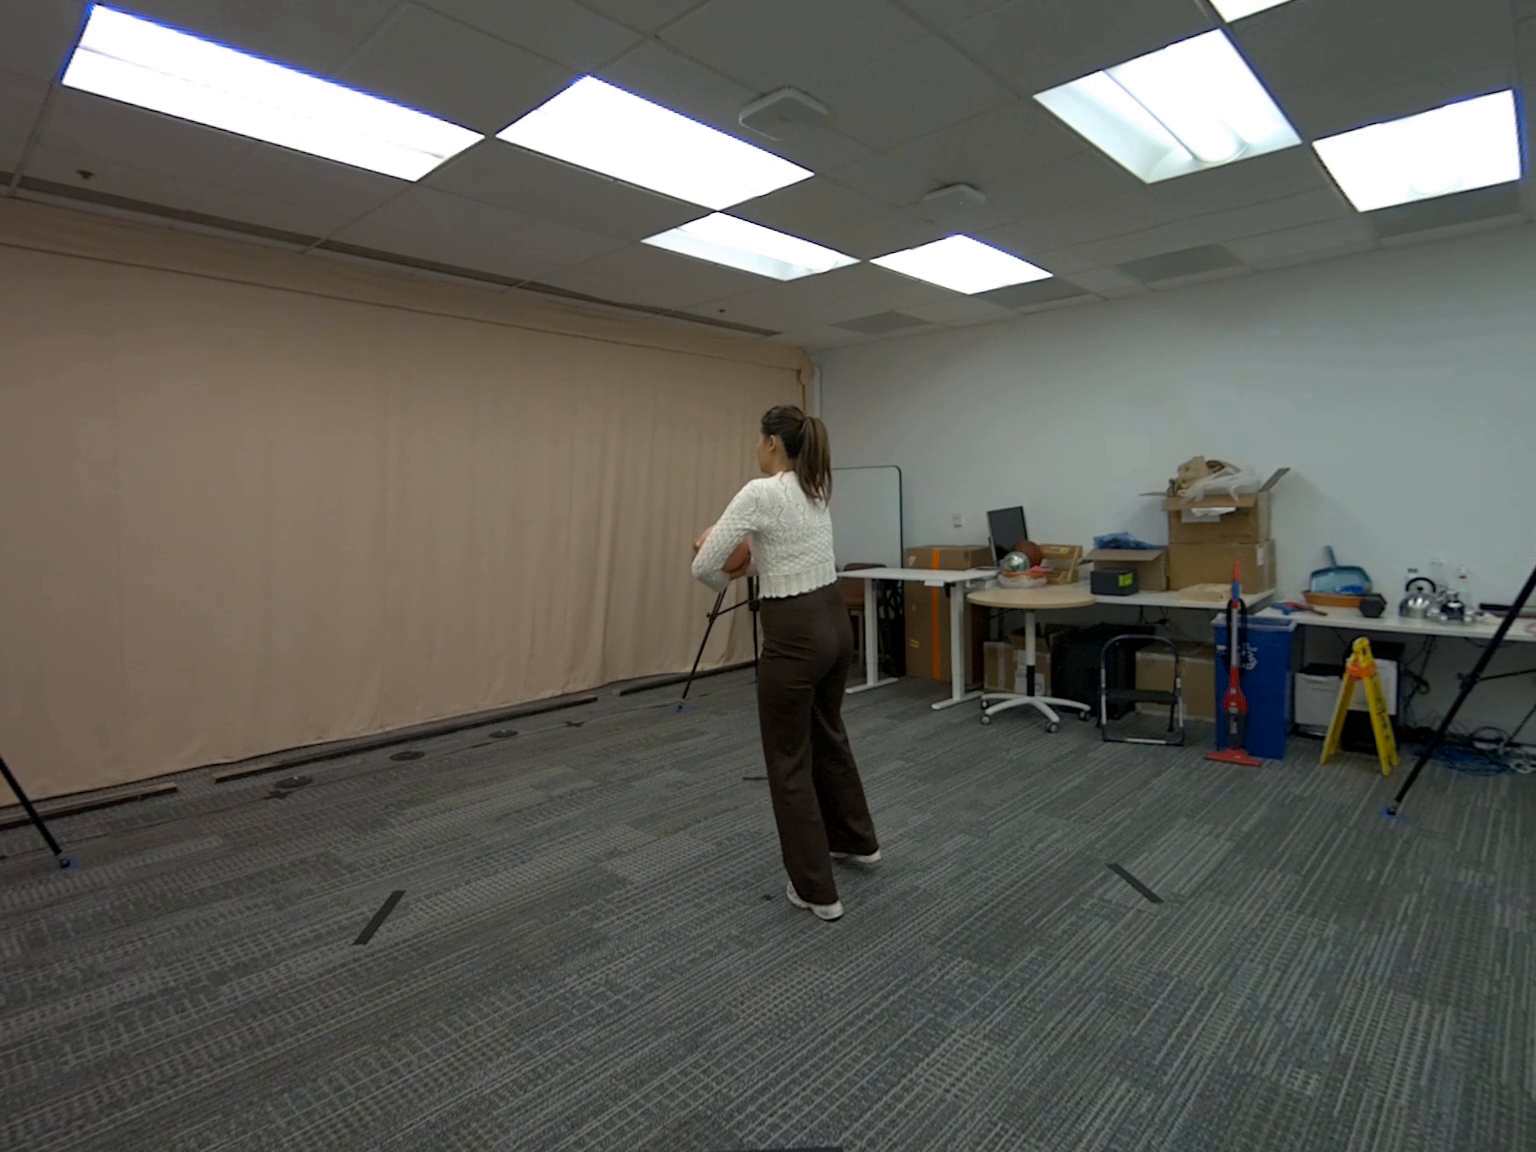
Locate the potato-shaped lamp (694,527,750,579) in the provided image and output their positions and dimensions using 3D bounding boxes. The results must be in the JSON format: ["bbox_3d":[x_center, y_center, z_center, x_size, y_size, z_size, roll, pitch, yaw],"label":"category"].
[{"bbox_3d":[-0.143,-0.113,2.962,0.168,0.168,0.197,-19,24,35],"label":"potato-shaped lamp"}]
